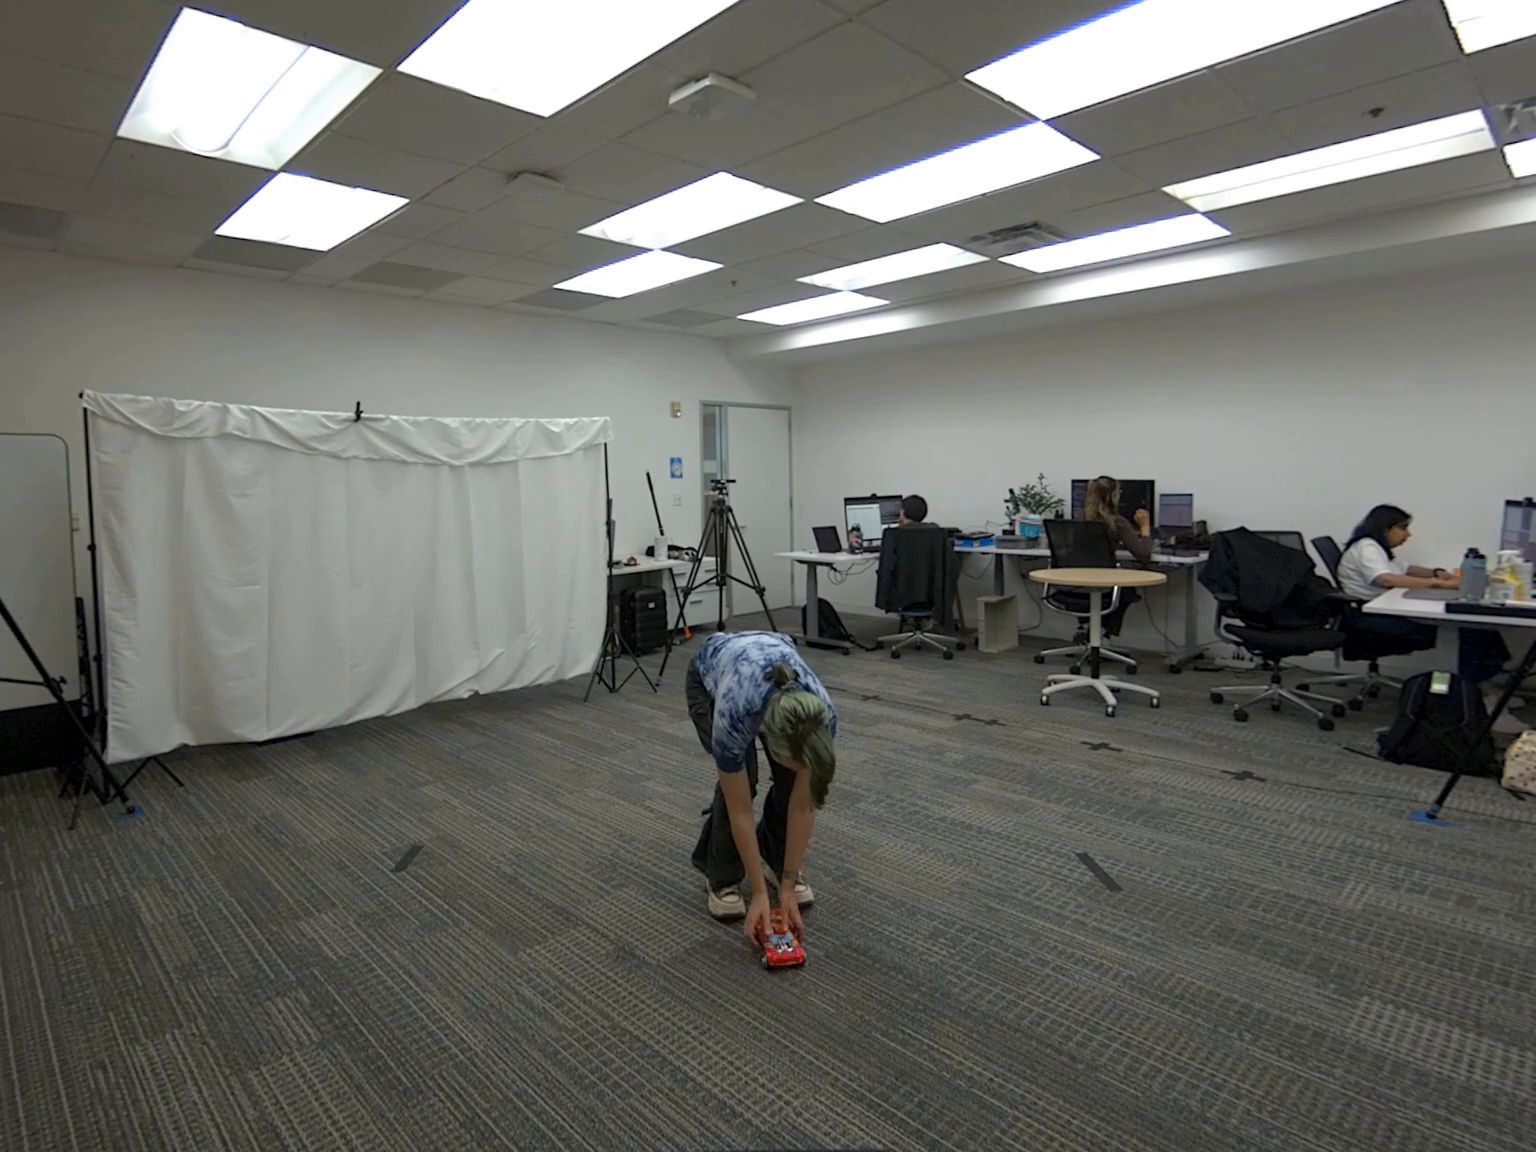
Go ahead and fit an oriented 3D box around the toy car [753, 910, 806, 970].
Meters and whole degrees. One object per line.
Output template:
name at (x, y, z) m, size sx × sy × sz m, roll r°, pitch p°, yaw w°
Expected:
toy car at (0.024, 1.084, 2.542) m, size 0.129 × 0.082 × 0.260 m, roll -4°, pitch 17°, yaw -9°
